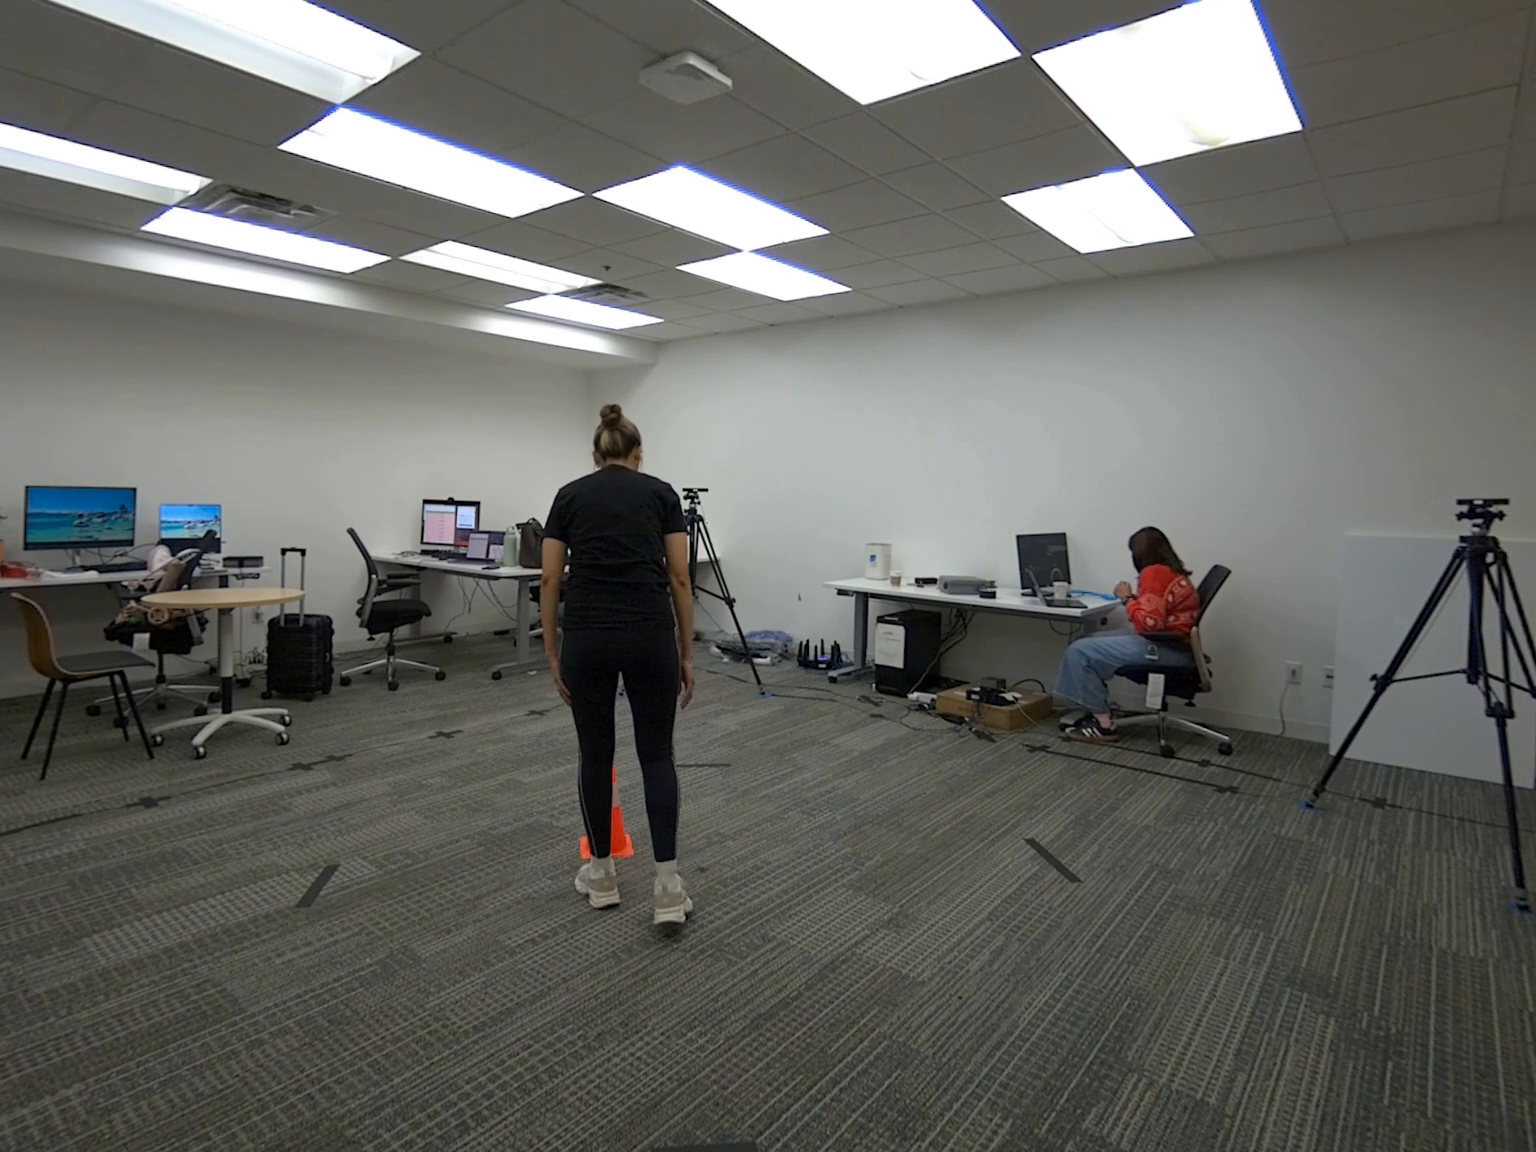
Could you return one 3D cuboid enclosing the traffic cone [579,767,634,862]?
[{"bbox_3d":[-0.628,0.860,3.284,0.203,0.383,0.206,1,3,-10],"label":"traffic cone"}]
